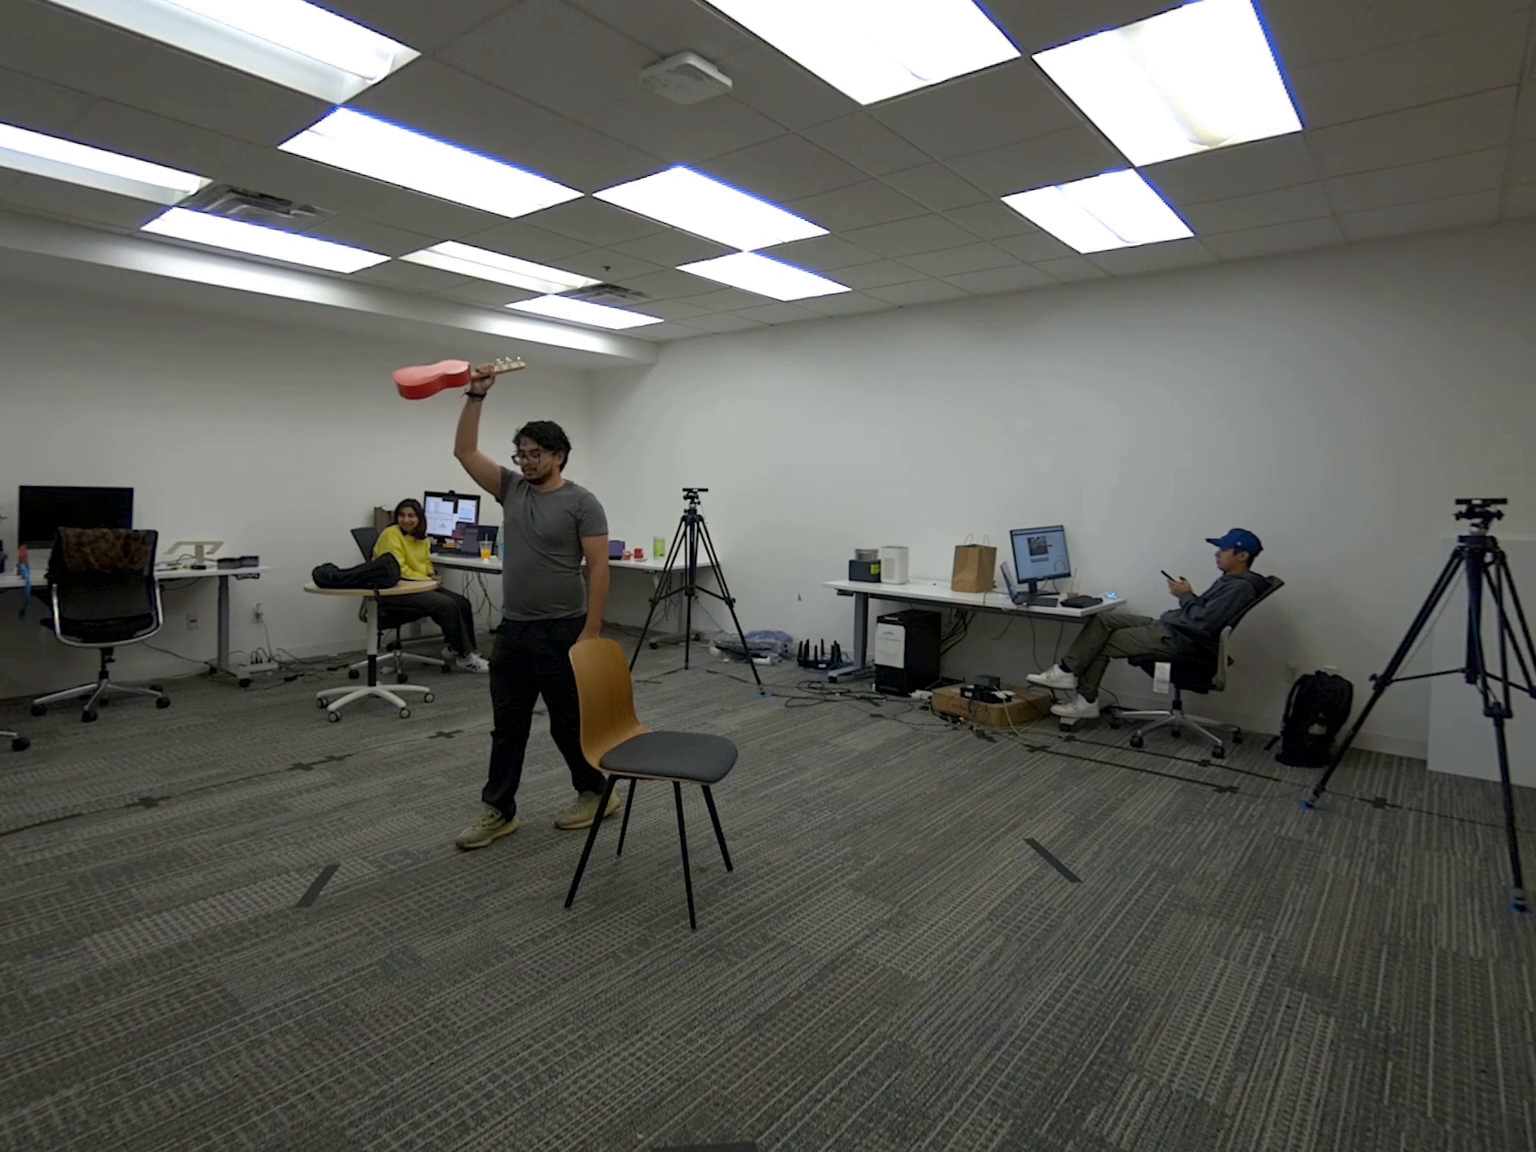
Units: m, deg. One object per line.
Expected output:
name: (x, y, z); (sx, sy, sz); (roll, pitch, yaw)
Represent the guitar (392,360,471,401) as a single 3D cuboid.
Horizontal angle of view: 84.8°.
guitar: (-1.203, -0.793, 3.253); (0.491, 0.069, 0.201); (-30, 44, -34)
